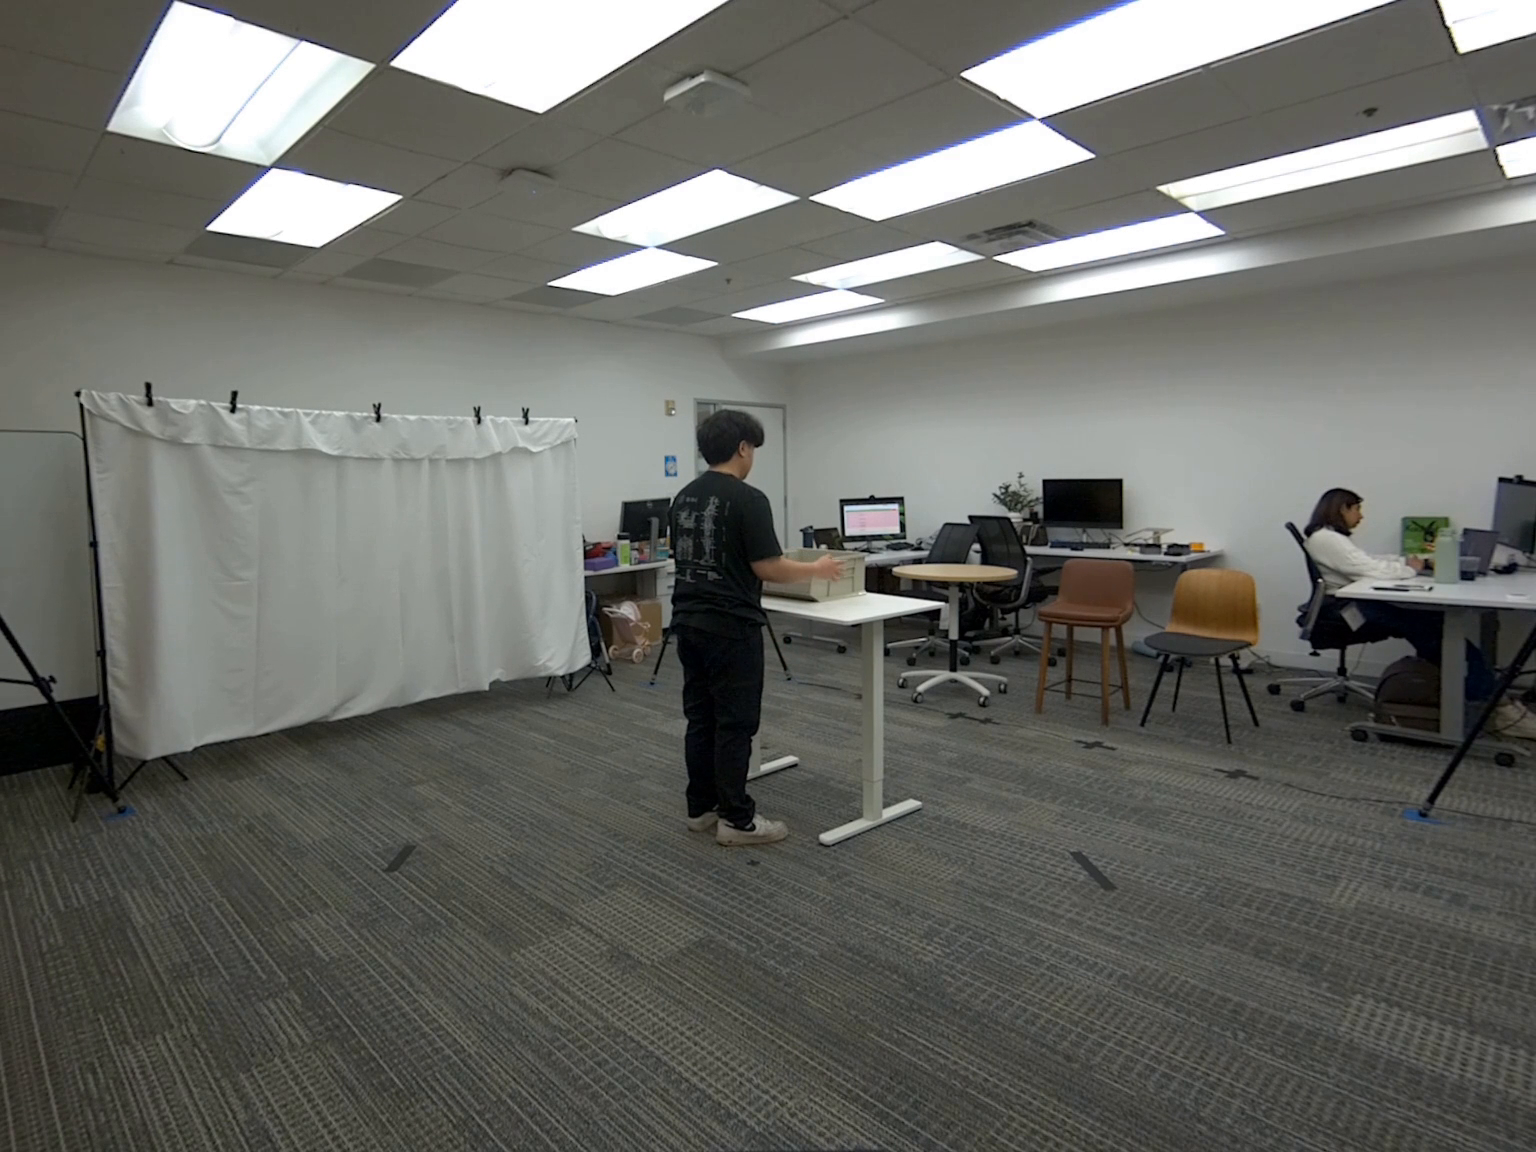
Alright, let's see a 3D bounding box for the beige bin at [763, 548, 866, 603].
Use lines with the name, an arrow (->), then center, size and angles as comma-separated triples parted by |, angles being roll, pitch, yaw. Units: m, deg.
beige bin -> 0.163, -0.004, 3.752 | 0.367, 0.188, 0.435 | -6, 8, -43
